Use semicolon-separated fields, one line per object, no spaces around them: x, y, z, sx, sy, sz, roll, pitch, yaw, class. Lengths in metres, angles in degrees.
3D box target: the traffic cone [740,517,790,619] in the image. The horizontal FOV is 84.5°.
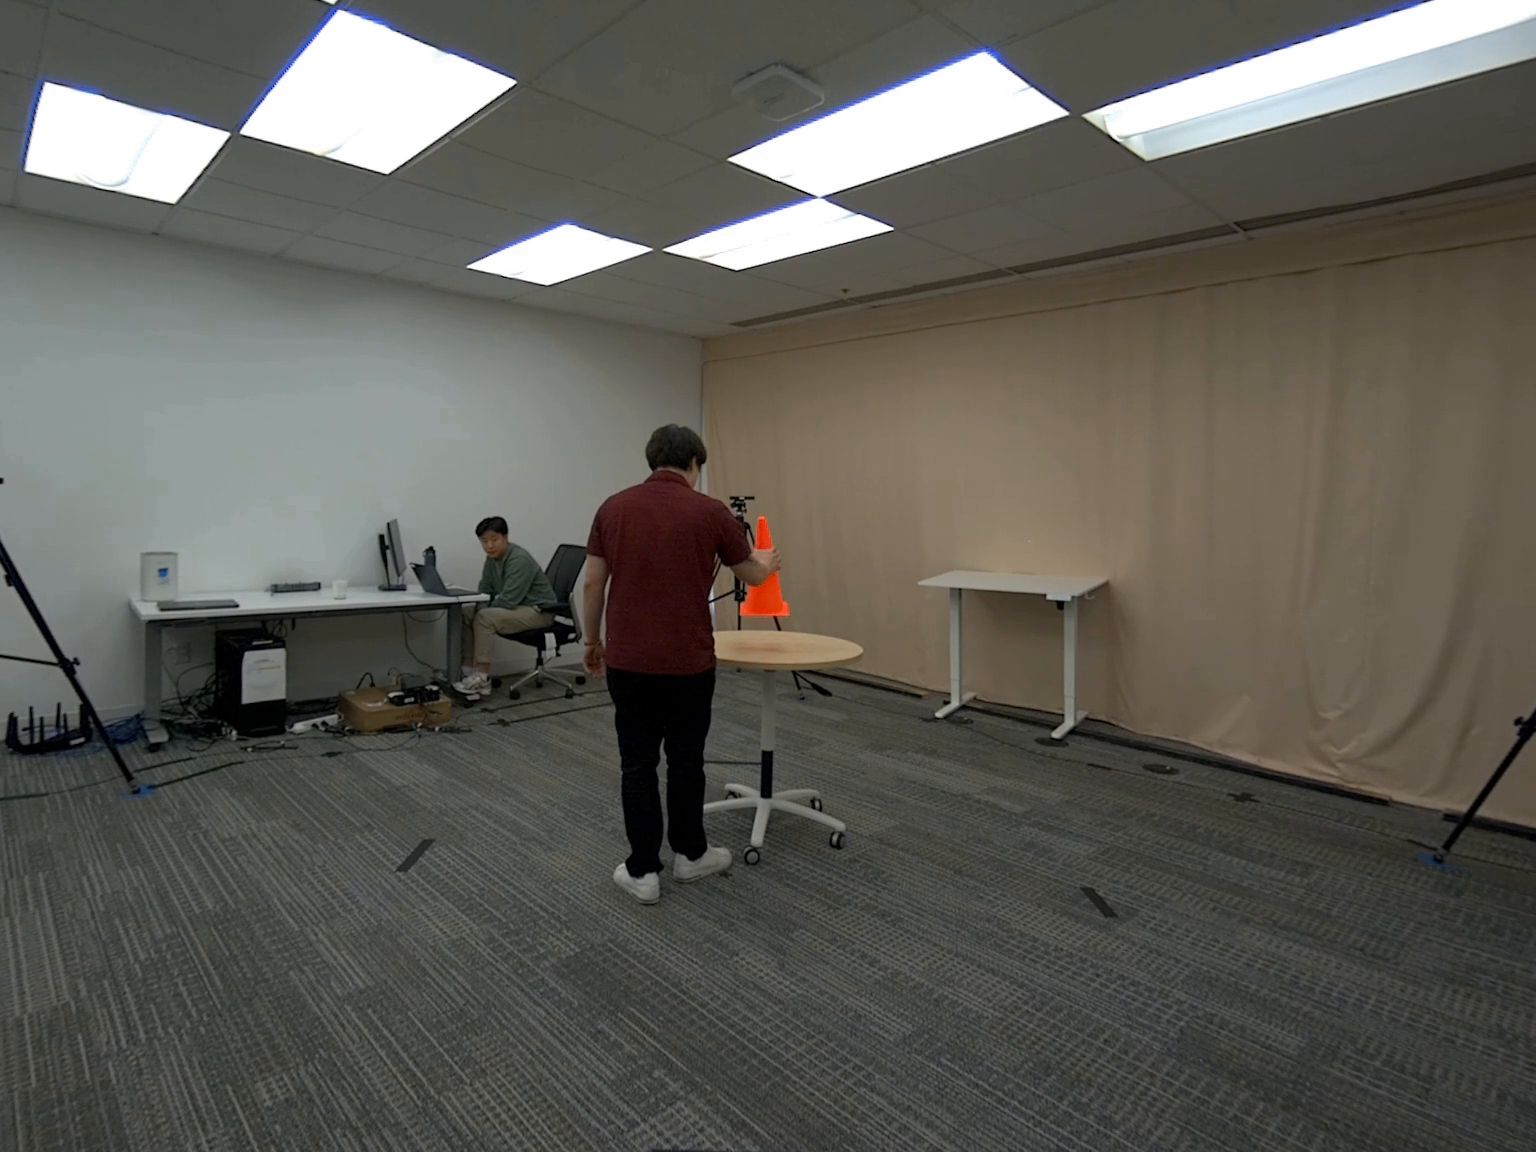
-0.027;-0.044;3.399;0.203;0.380;0.207;-2;11;-2;traffic cone
